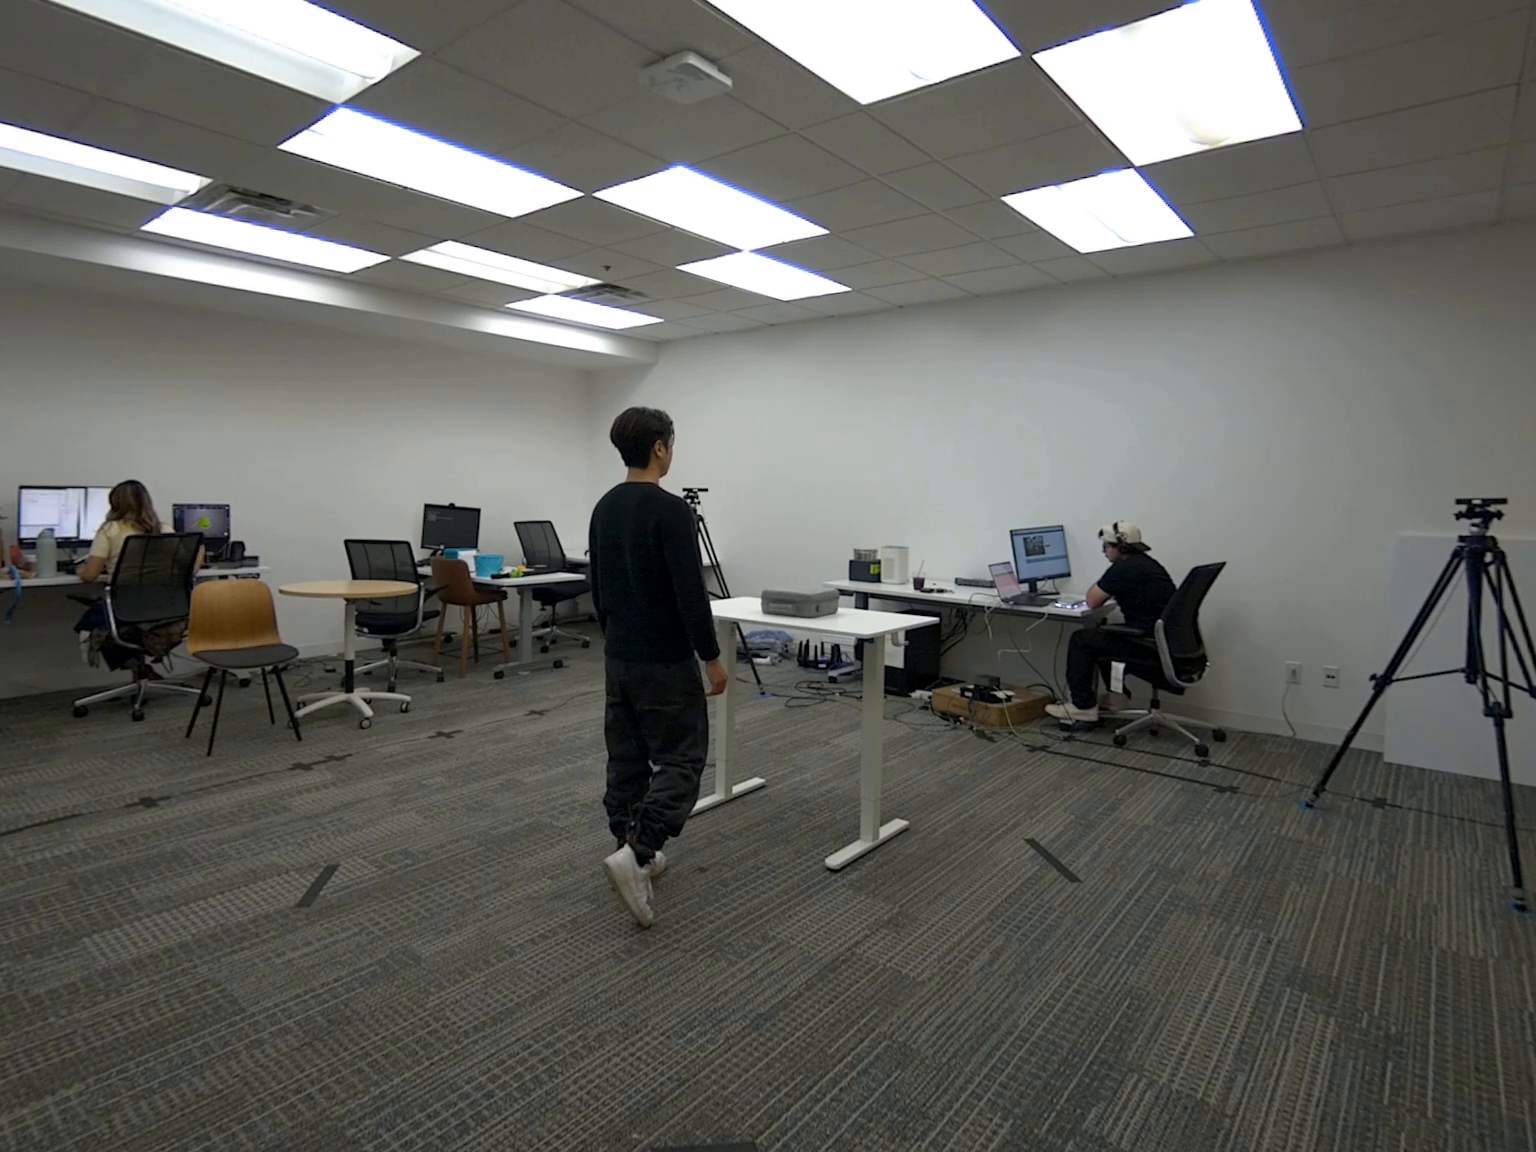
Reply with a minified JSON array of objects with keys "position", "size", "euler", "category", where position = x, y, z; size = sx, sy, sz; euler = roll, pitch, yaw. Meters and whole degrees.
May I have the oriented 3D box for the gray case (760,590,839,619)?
[{"position":[0.126,0.102,3.531],"size":[0.265,0.104,0.253],"euler":[5,7,34],"category":"gray case"}]
